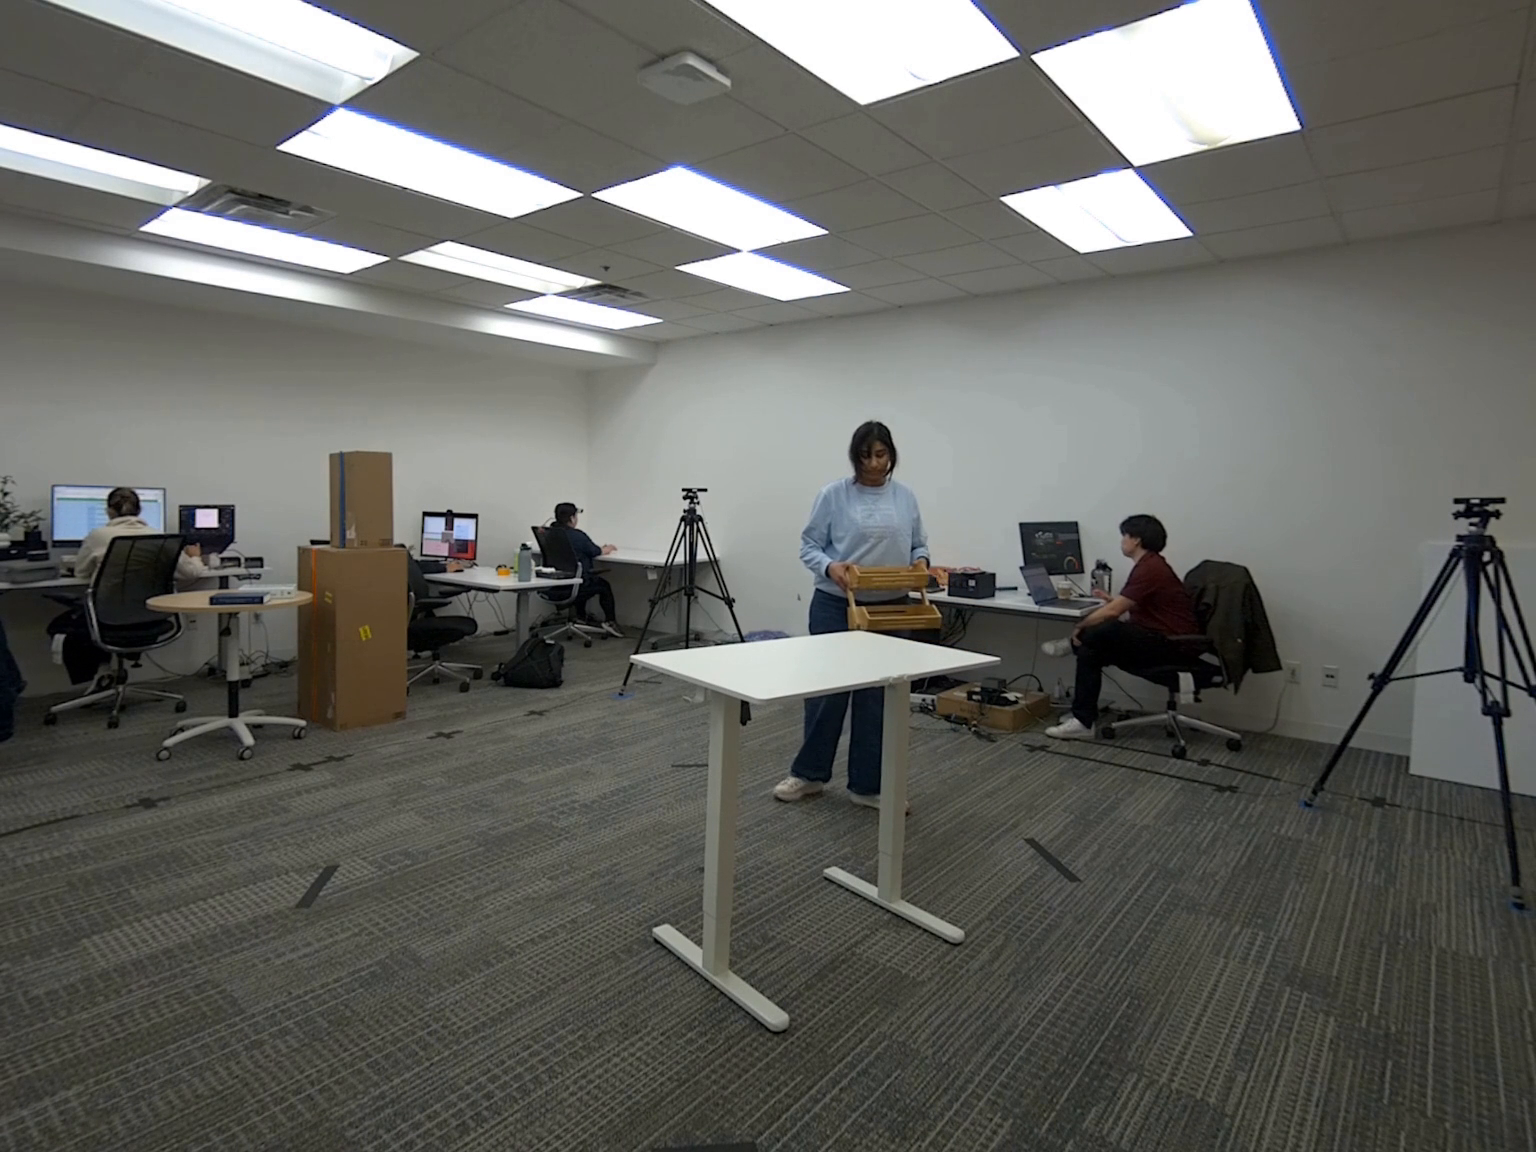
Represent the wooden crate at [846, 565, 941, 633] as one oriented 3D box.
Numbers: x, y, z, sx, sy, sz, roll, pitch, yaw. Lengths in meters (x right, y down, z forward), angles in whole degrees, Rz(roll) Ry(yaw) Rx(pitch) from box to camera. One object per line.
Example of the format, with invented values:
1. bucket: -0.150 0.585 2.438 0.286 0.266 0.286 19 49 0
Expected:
1. wooden crate: 0.495 0.073 3.474 0.320 0.274 0.305 -1 -3 -13
